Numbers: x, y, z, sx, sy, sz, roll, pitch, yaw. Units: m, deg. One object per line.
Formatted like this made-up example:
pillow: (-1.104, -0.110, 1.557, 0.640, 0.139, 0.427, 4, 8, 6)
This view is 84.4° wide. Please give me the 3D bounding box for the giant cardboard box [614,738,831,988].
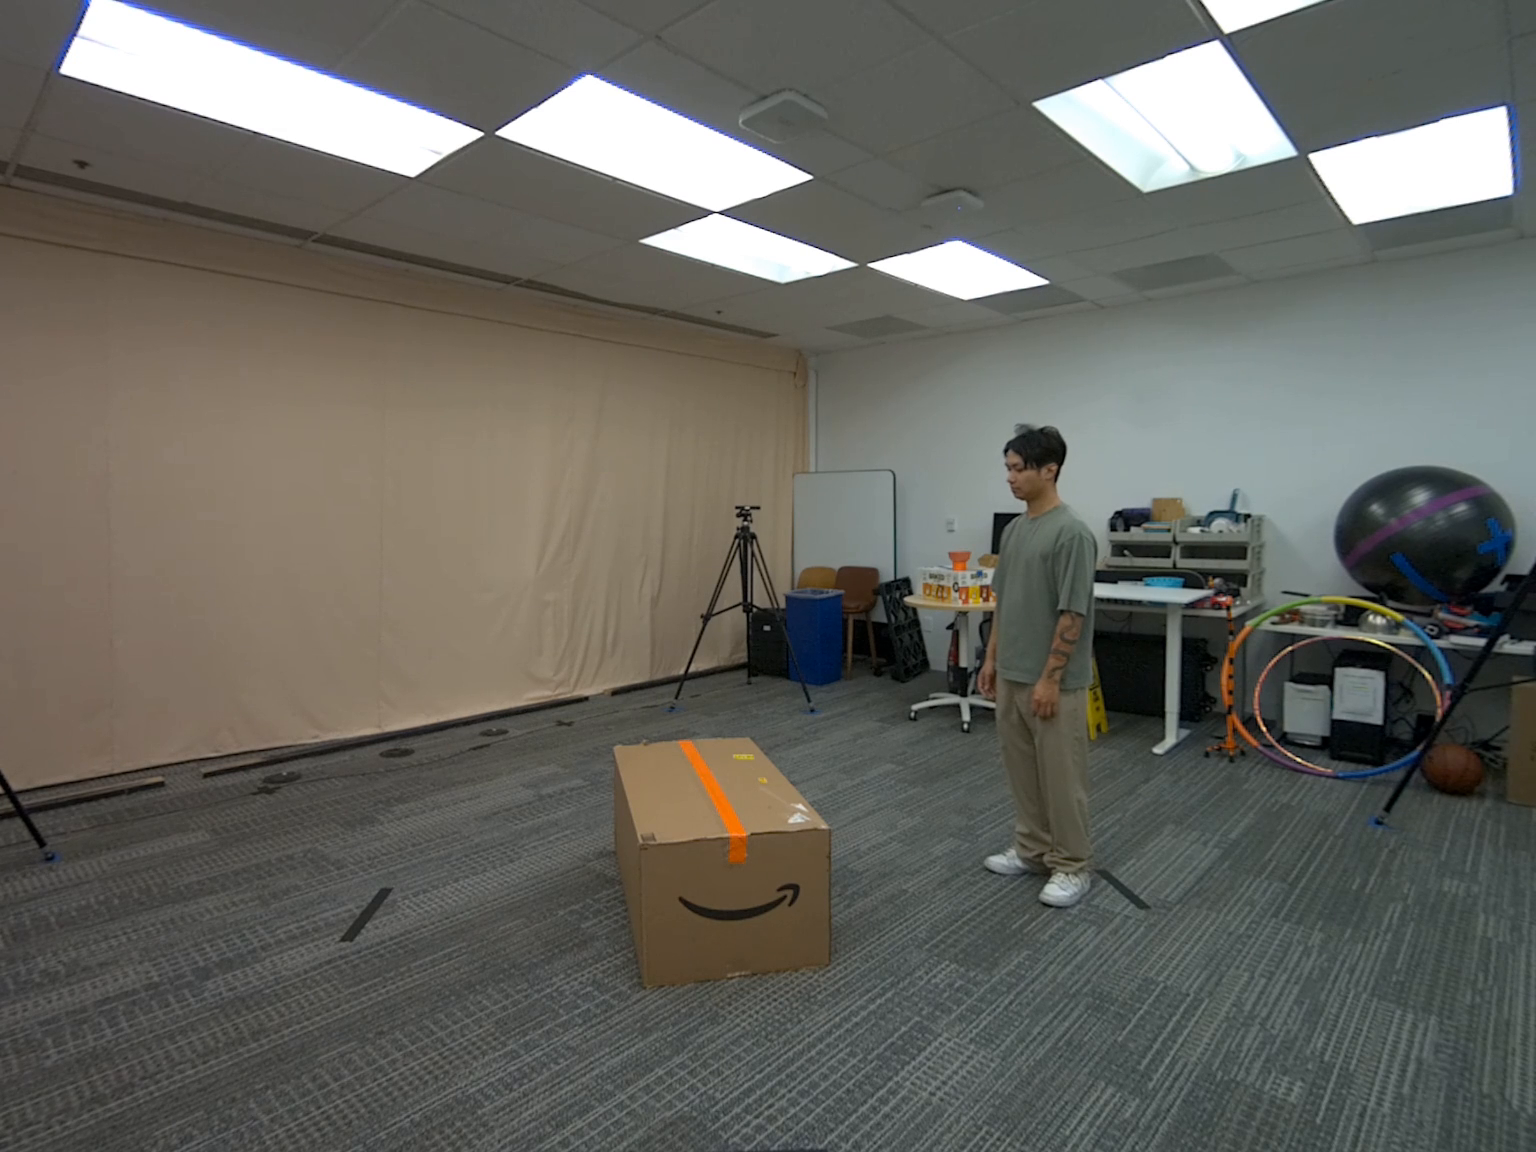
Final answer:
giant cardboard box: (-0.217, 0.928, 2.974, 0.569, 0.425, 1.043, -1, 4, -14)
